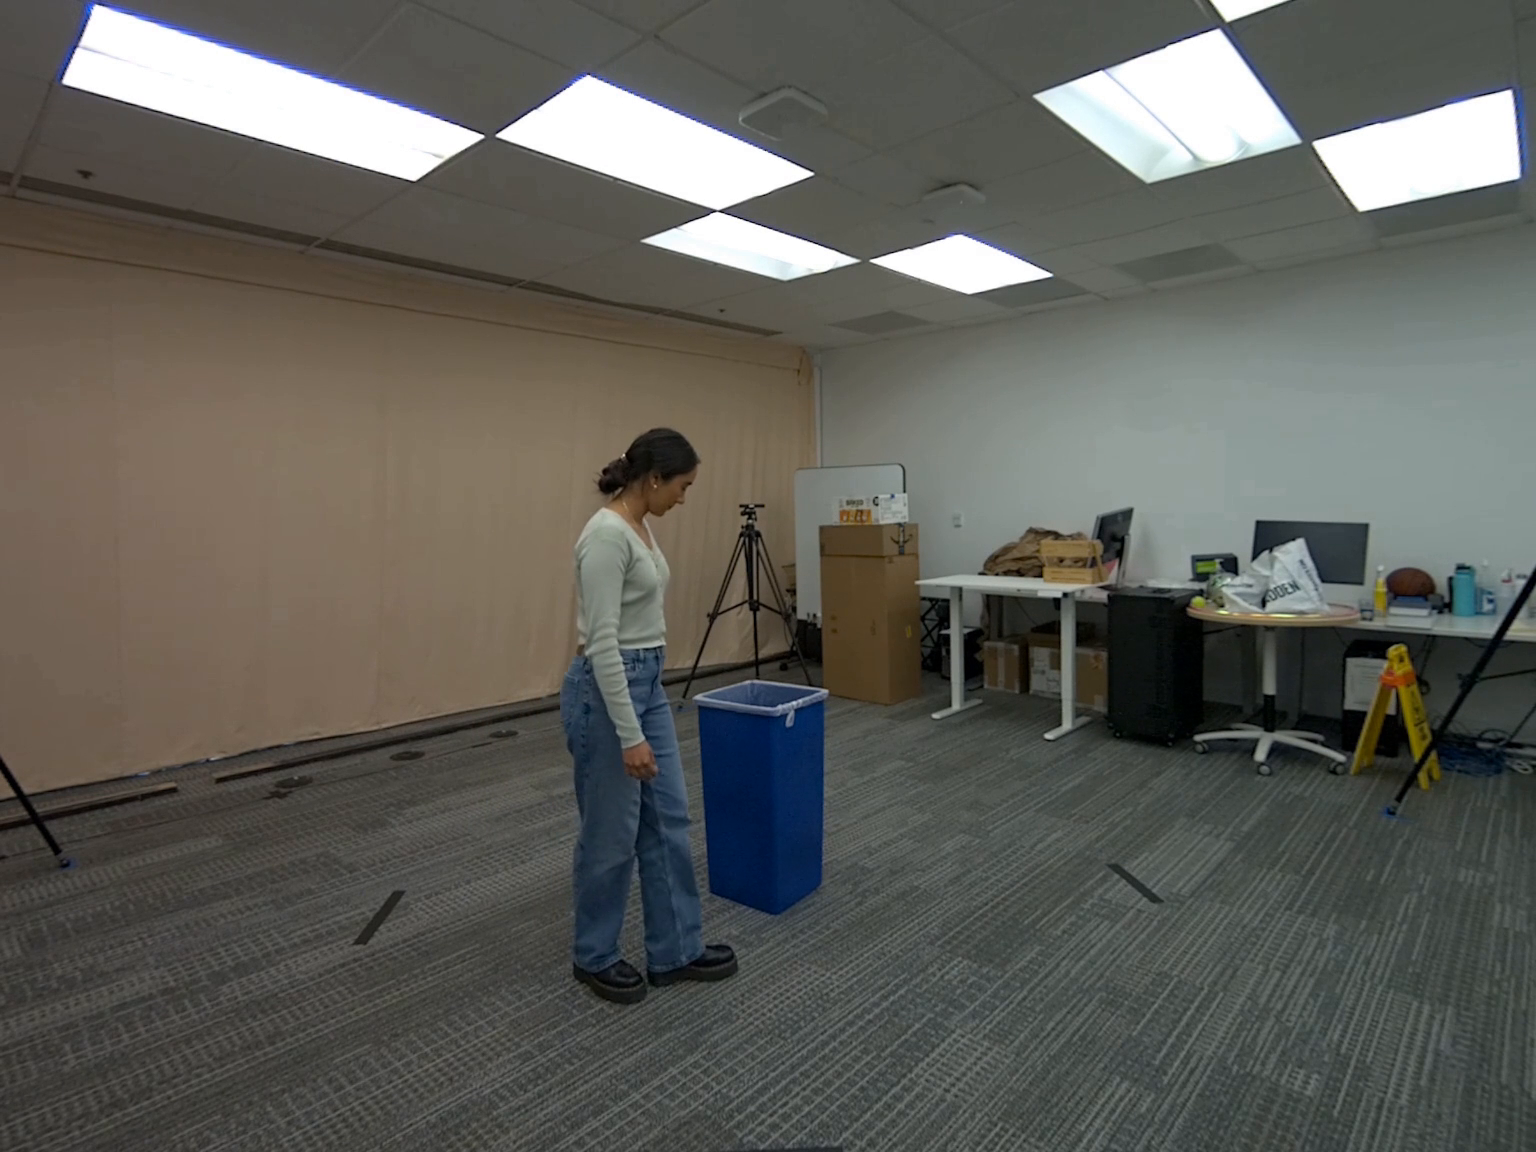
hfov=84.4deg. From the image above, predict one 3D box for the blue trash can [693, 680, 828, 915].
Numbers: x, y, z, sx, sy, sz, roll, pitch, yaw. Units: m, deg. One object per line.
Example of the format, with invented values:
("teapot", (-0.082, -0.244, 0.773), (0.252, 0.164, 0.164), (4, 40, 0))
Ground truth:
("blue trash can", (-0.020, 0.775, 3.036), (0.386, 0.712, 0.367), (2, 4, 37))
